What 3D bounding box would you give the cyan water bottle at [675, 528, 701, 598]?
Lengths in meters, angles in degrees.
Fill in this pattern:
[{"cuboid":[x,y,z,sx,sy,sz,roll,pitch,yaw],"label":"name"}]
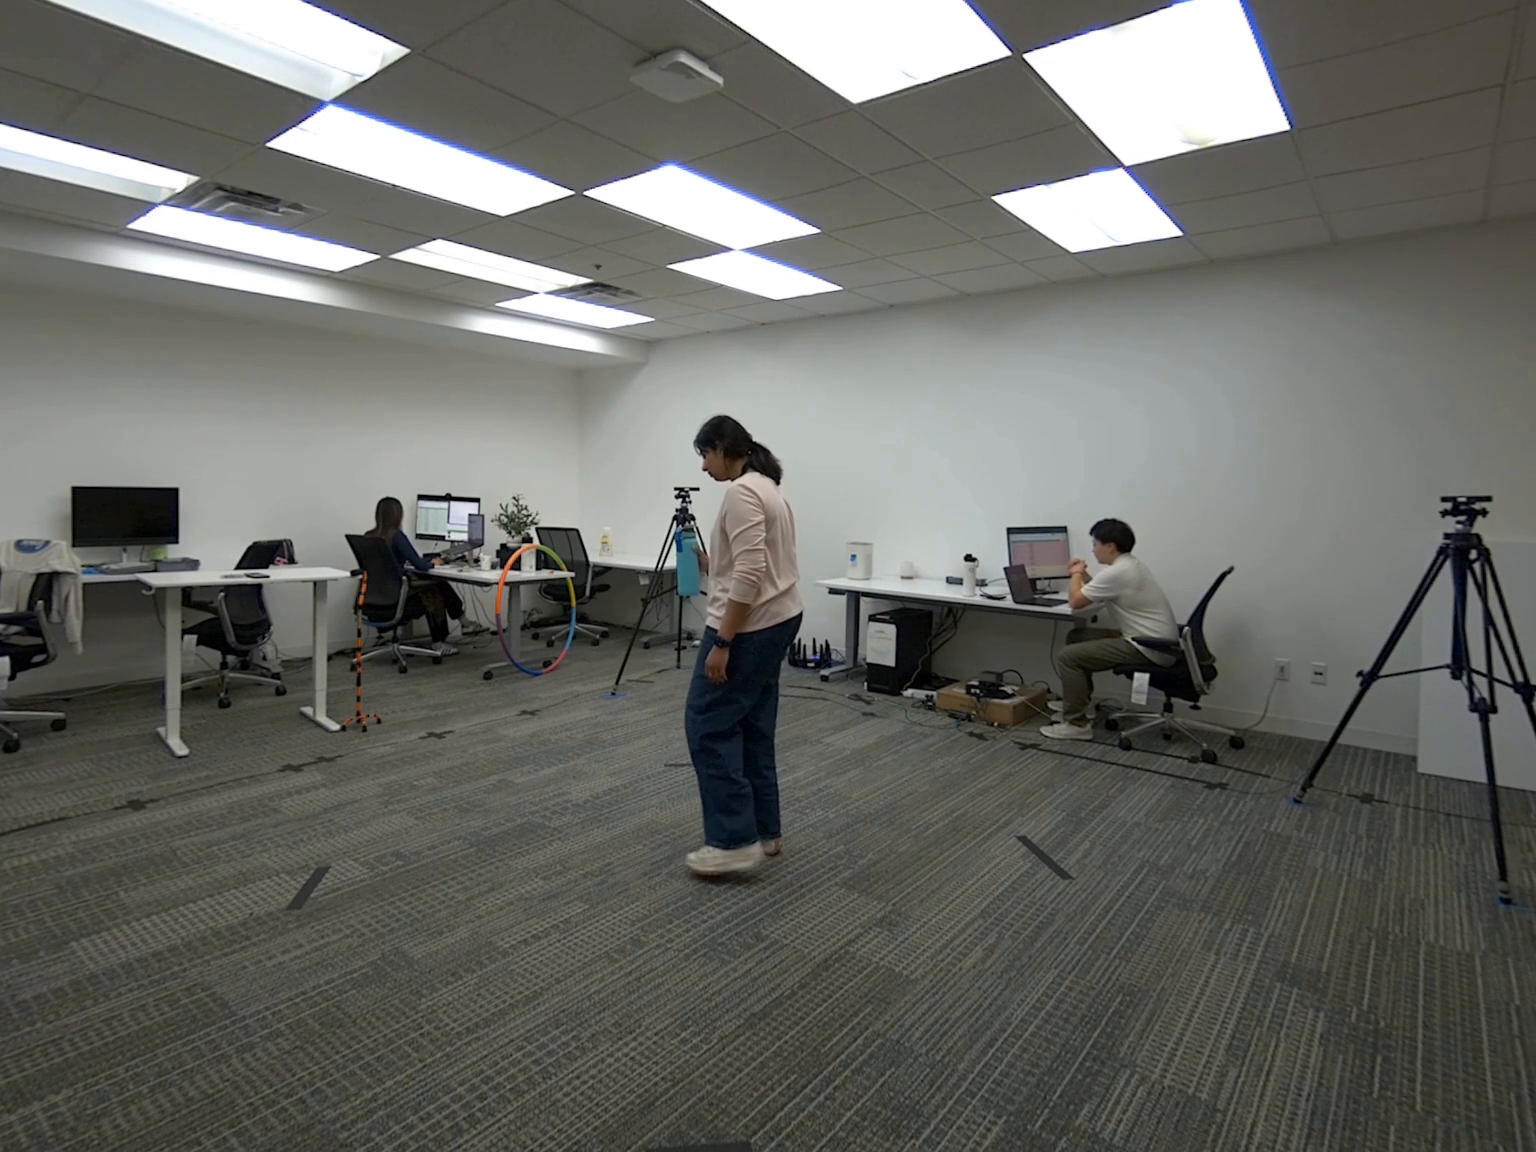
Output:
[{"cuboid":[-0.336,-0.070,3.440,0.092,0.282,0.093,-3,4,-2],"label":"cyan water bottle"}]
